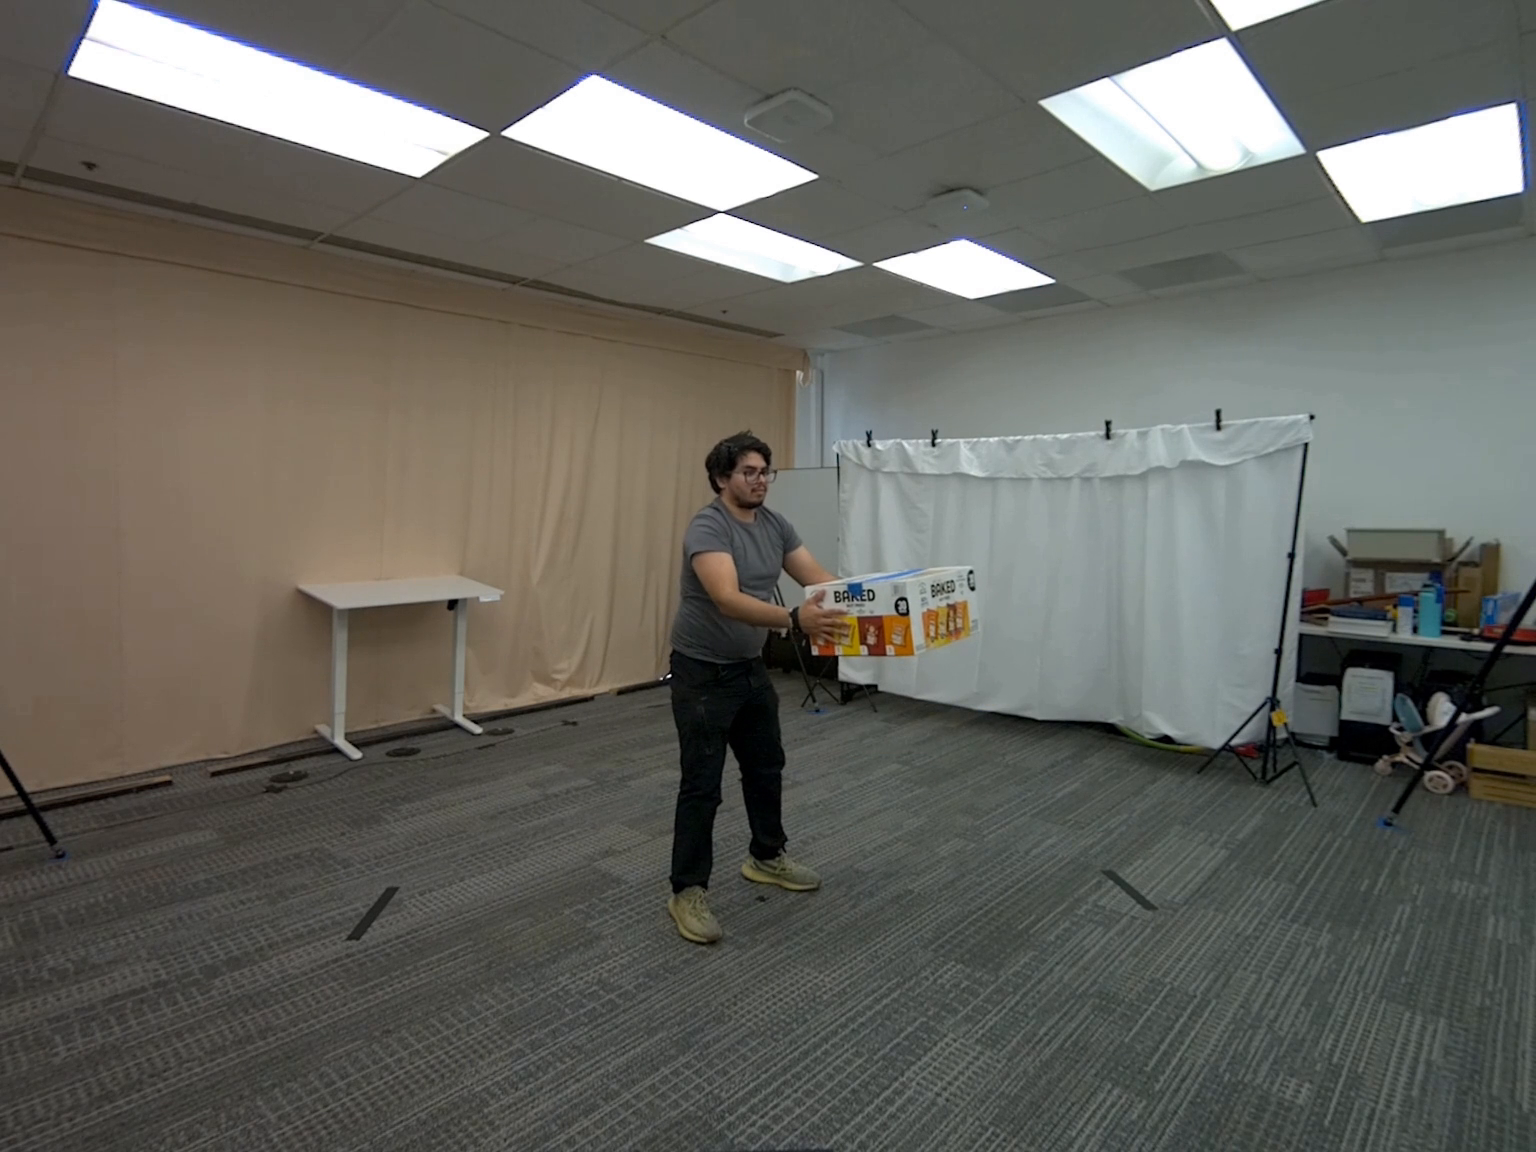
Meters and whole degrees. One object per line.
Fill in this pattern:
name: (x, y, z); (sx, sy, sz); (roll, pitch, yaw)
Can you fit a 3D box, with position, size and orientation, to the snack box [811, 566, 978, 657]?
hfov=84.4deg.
snack box: (0.377, 0.104, 2.483); (0.351, 0.205, 0.393); (-4, 3, 40)
